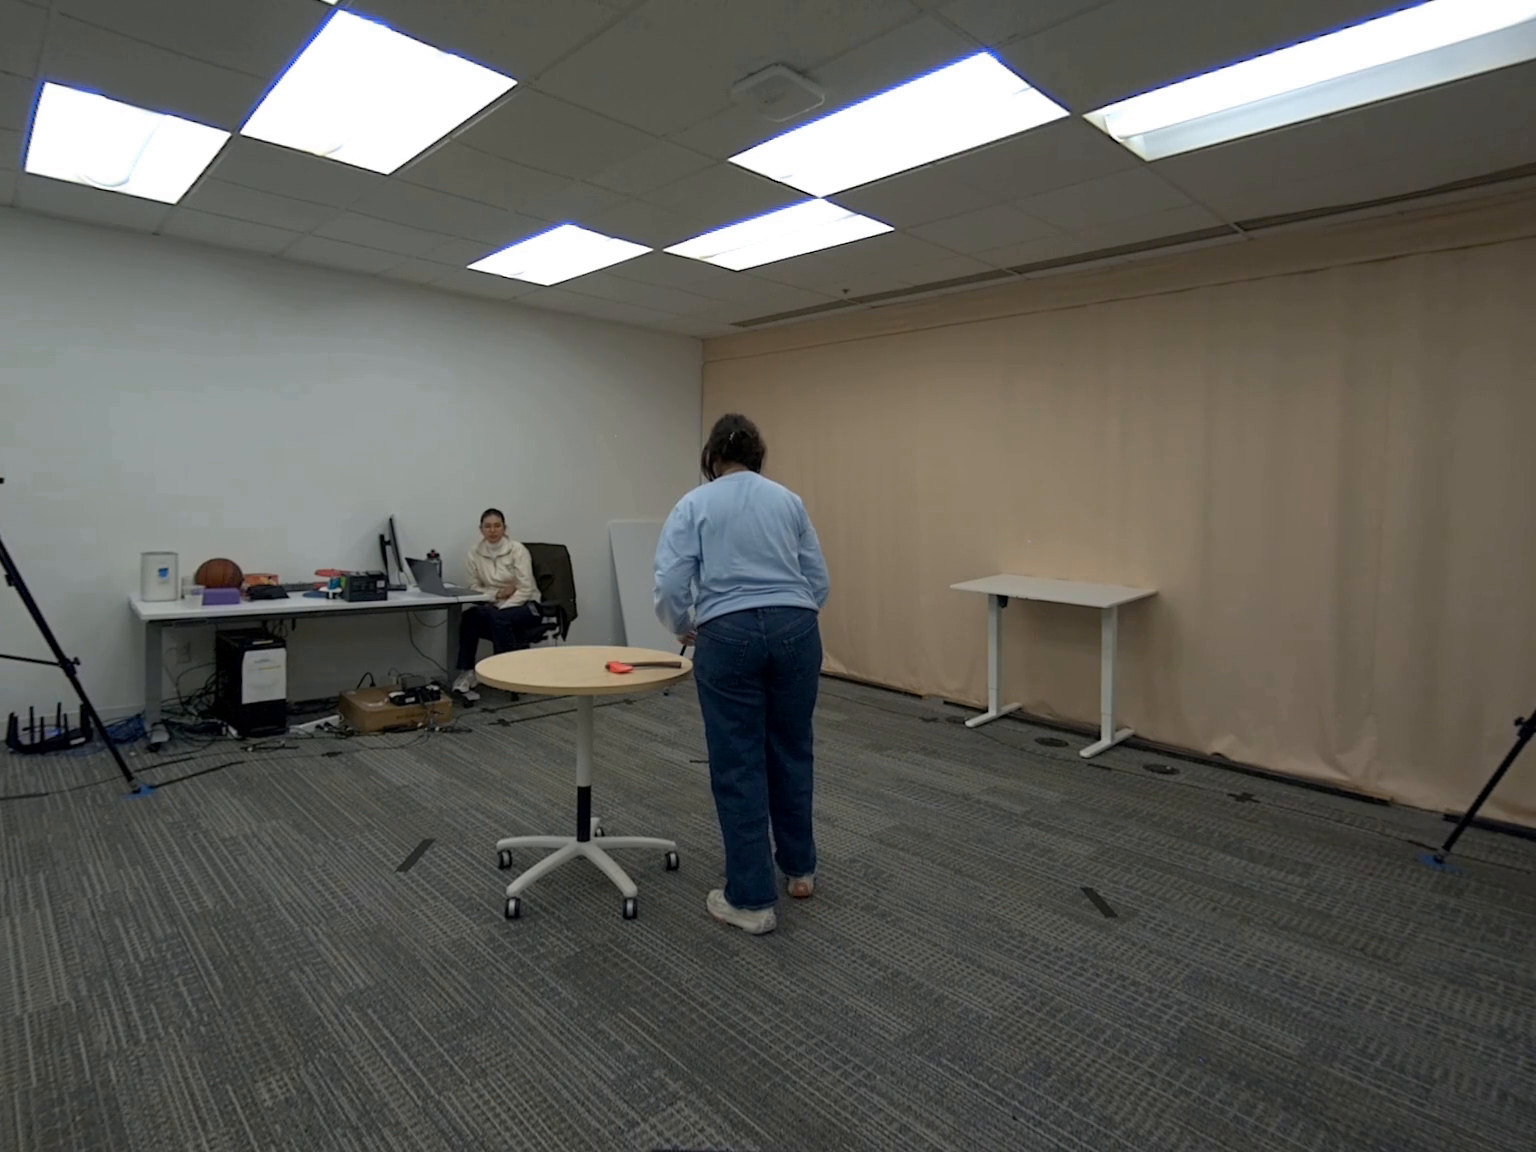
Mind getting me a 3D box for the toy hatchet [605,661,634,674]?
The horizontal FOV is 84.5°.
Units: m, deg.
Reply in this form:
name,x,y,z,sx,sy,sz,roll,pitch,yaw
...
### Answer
name,x,y,z,sx,sy,sz,roll,pitch,yaw
toy hatchet,-0.432,0.316,2.902,0.268,0.029,0.132,2,4,-7
